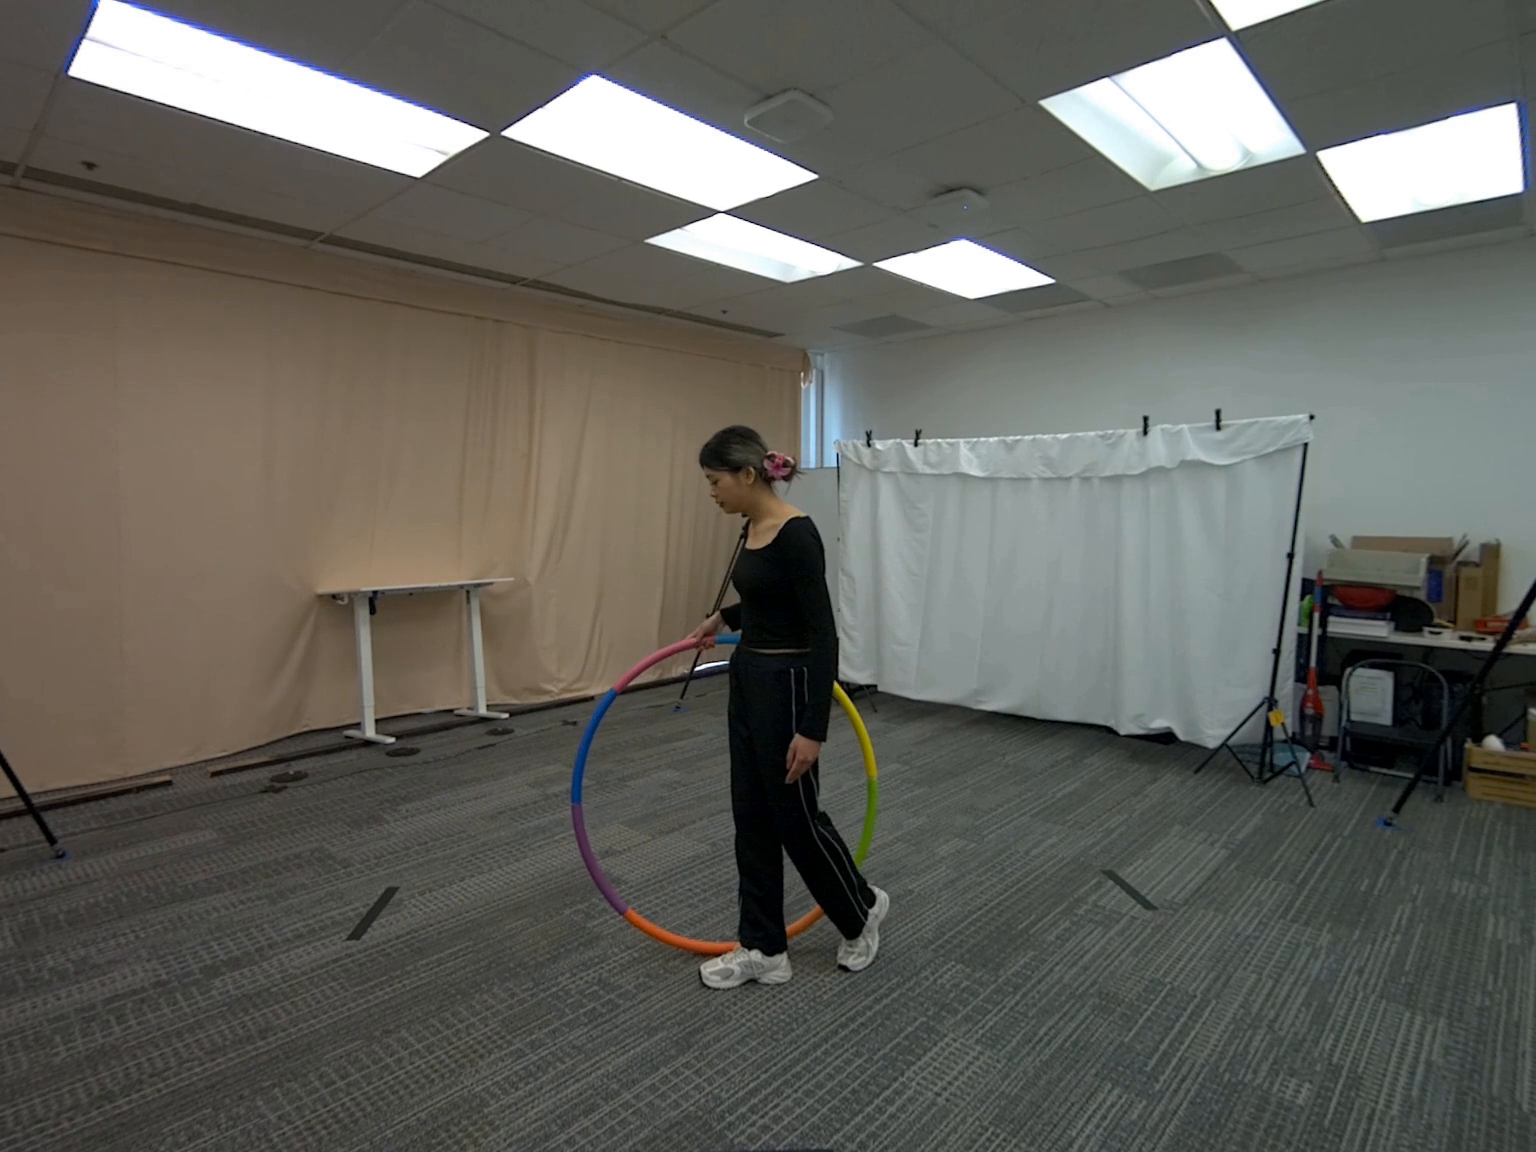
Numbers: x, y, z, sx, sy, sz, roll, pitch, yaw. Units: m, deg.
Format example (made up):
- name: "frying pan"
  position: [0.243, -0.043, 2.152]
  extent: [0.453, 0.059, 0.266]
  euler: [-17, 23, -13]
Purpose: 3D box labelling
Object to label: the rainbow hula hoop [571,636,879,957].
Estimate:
- name: "rainbow hula hoop"
  position: [-0.124, 0.679, 2.681]
  extent: [0.975, 0.984, 0.035]
  euler: [0, -9, -3]
